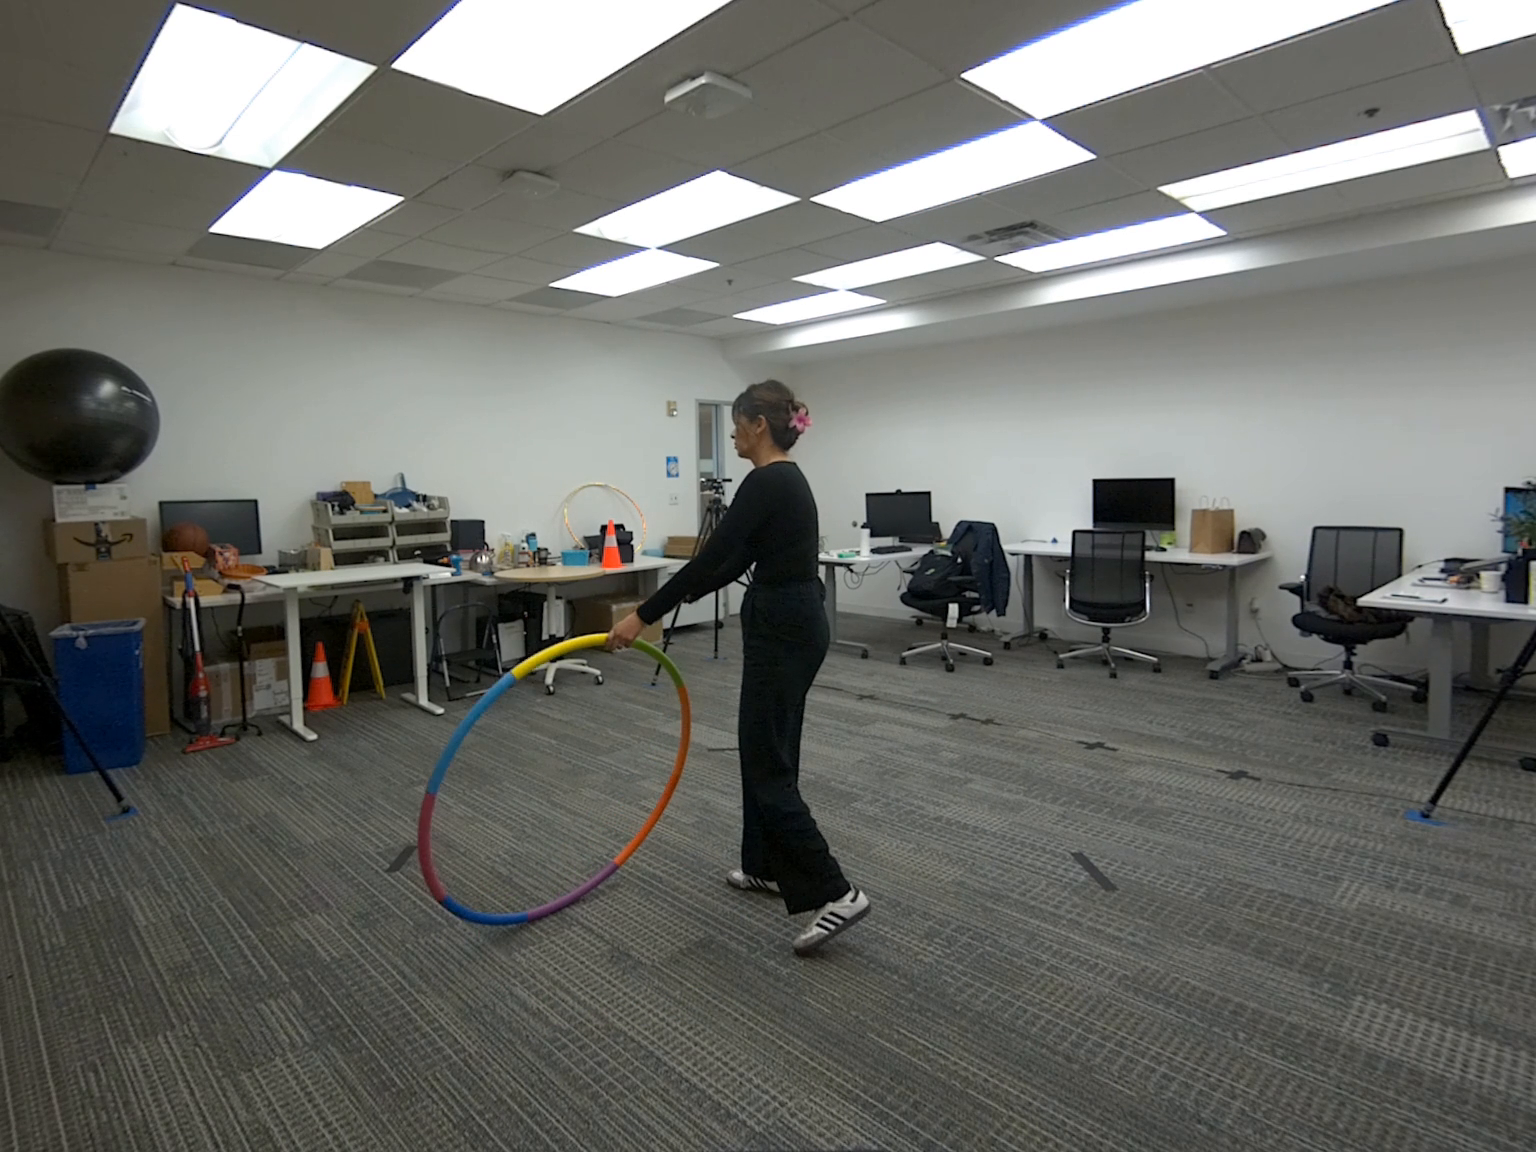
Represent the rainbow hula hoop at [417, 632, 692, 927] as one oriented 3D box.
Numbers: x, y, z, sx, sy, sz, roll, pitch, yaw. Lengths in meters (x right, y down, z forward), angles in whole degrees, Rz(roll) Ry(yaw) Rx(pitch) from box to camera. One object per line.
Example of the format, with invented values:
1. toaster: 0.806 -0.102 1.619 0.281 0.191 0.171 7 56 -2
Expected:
1. rainbow hula hoop: -0.616 0.640 2.668 0.037 0.968 0.953 23 20 39
